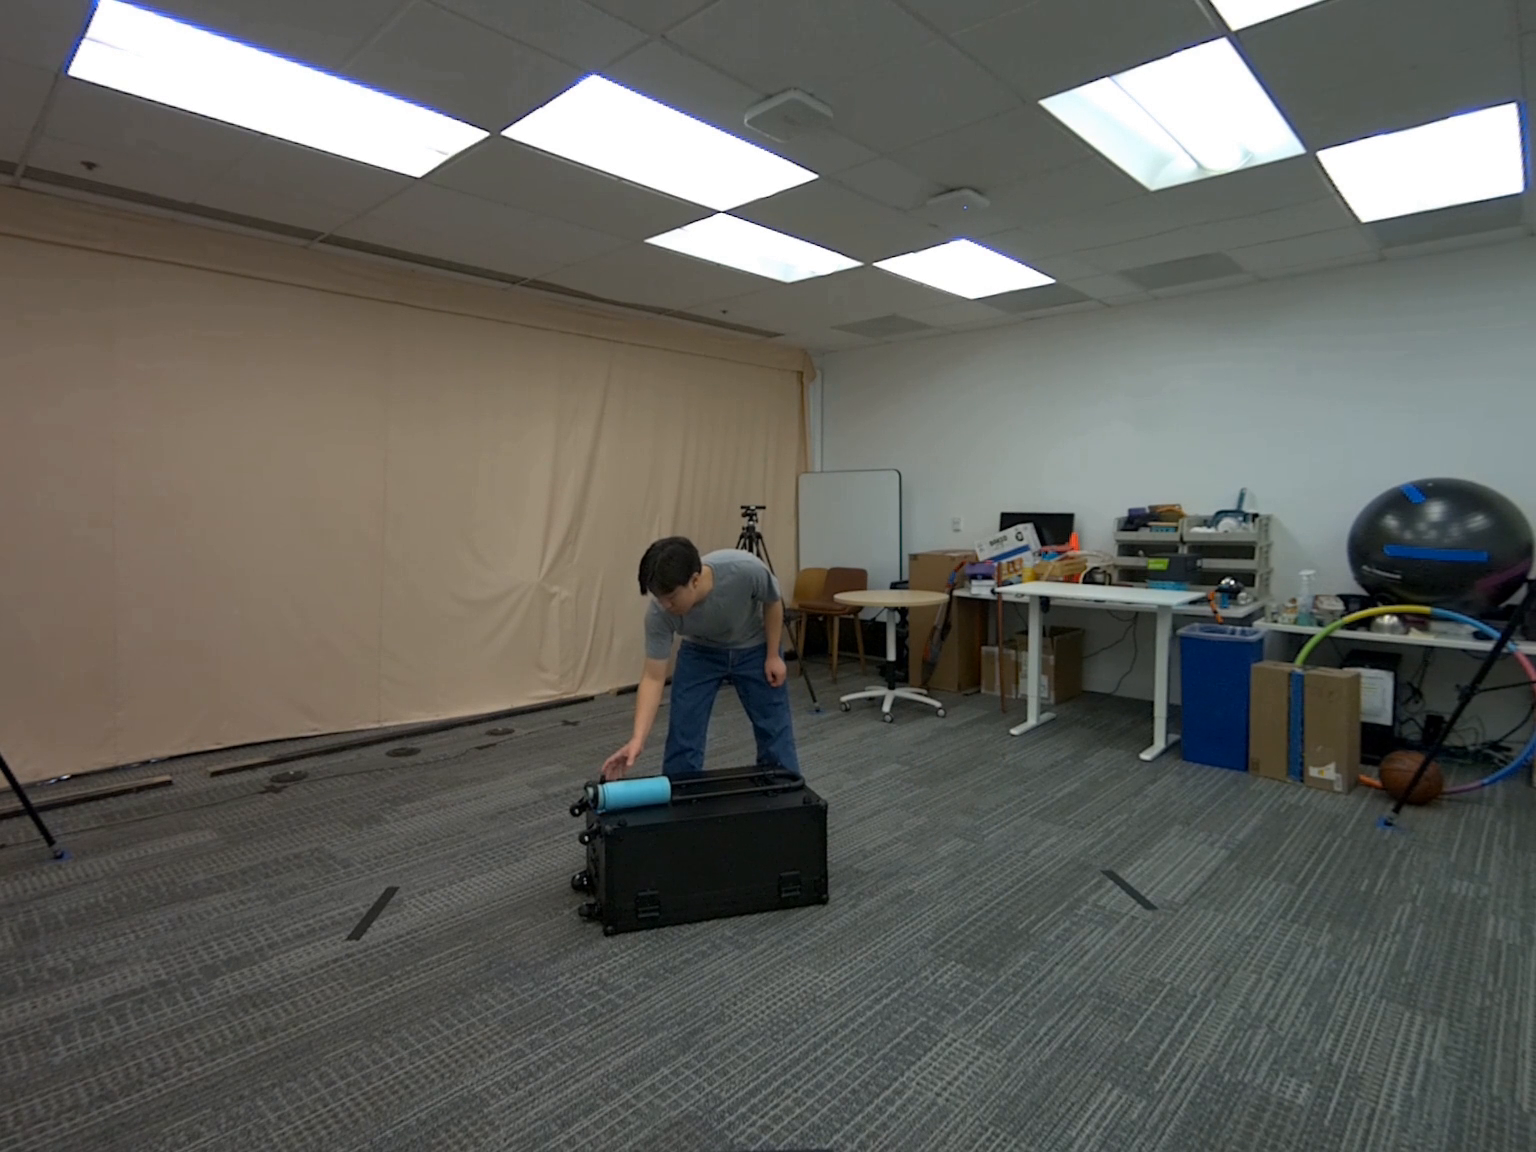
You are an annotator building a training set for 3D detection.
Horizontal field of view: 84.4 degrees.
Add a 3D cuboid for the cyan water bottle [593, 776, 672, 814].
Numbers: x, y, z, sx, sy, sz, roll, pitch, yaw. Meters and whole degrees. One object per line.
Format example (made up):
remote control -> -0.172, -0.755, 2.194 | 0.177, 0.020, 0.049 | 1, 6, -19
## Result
cyan water bottle -> -0.477, 0.746, 2.889 | 0.278, 0.092, 0.094 | -1, 4, -19
